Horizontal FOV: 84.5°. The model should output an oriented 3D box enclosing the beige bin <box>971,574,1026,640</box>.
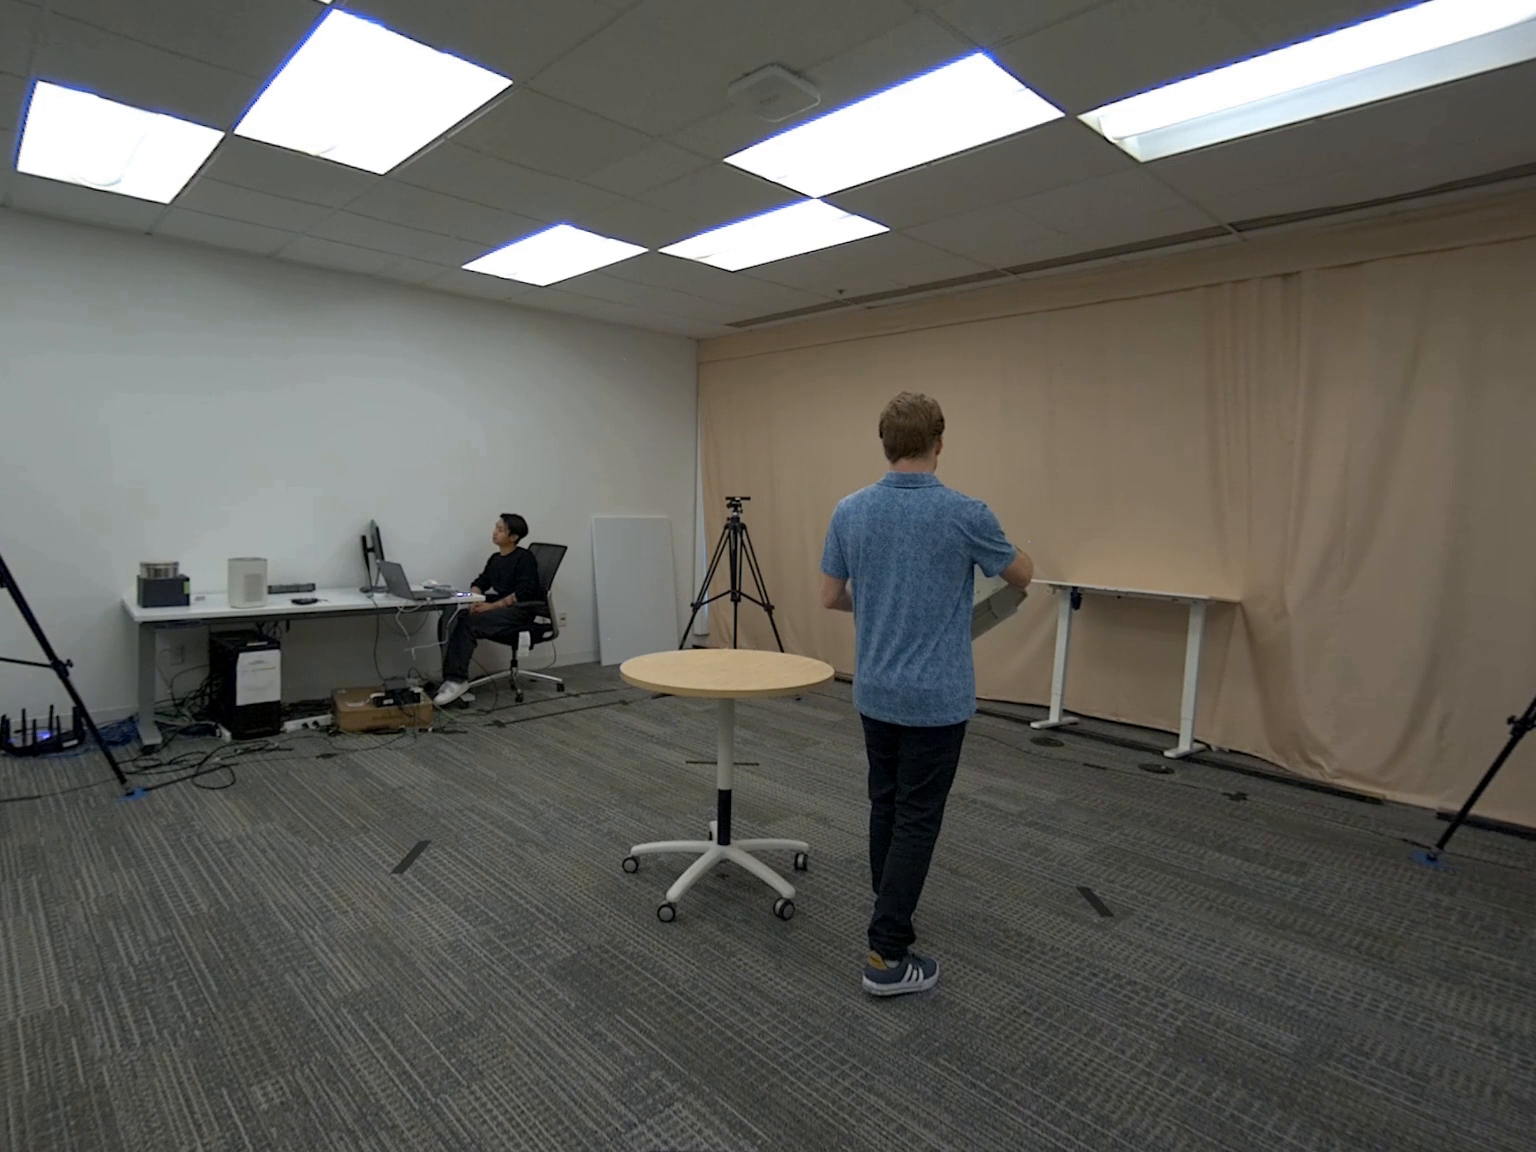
[{"bbox_3d":[0.599,0.008,2.891,0.378,0.435,0.183,-35,-42,8],"label":"beige bin"}]
